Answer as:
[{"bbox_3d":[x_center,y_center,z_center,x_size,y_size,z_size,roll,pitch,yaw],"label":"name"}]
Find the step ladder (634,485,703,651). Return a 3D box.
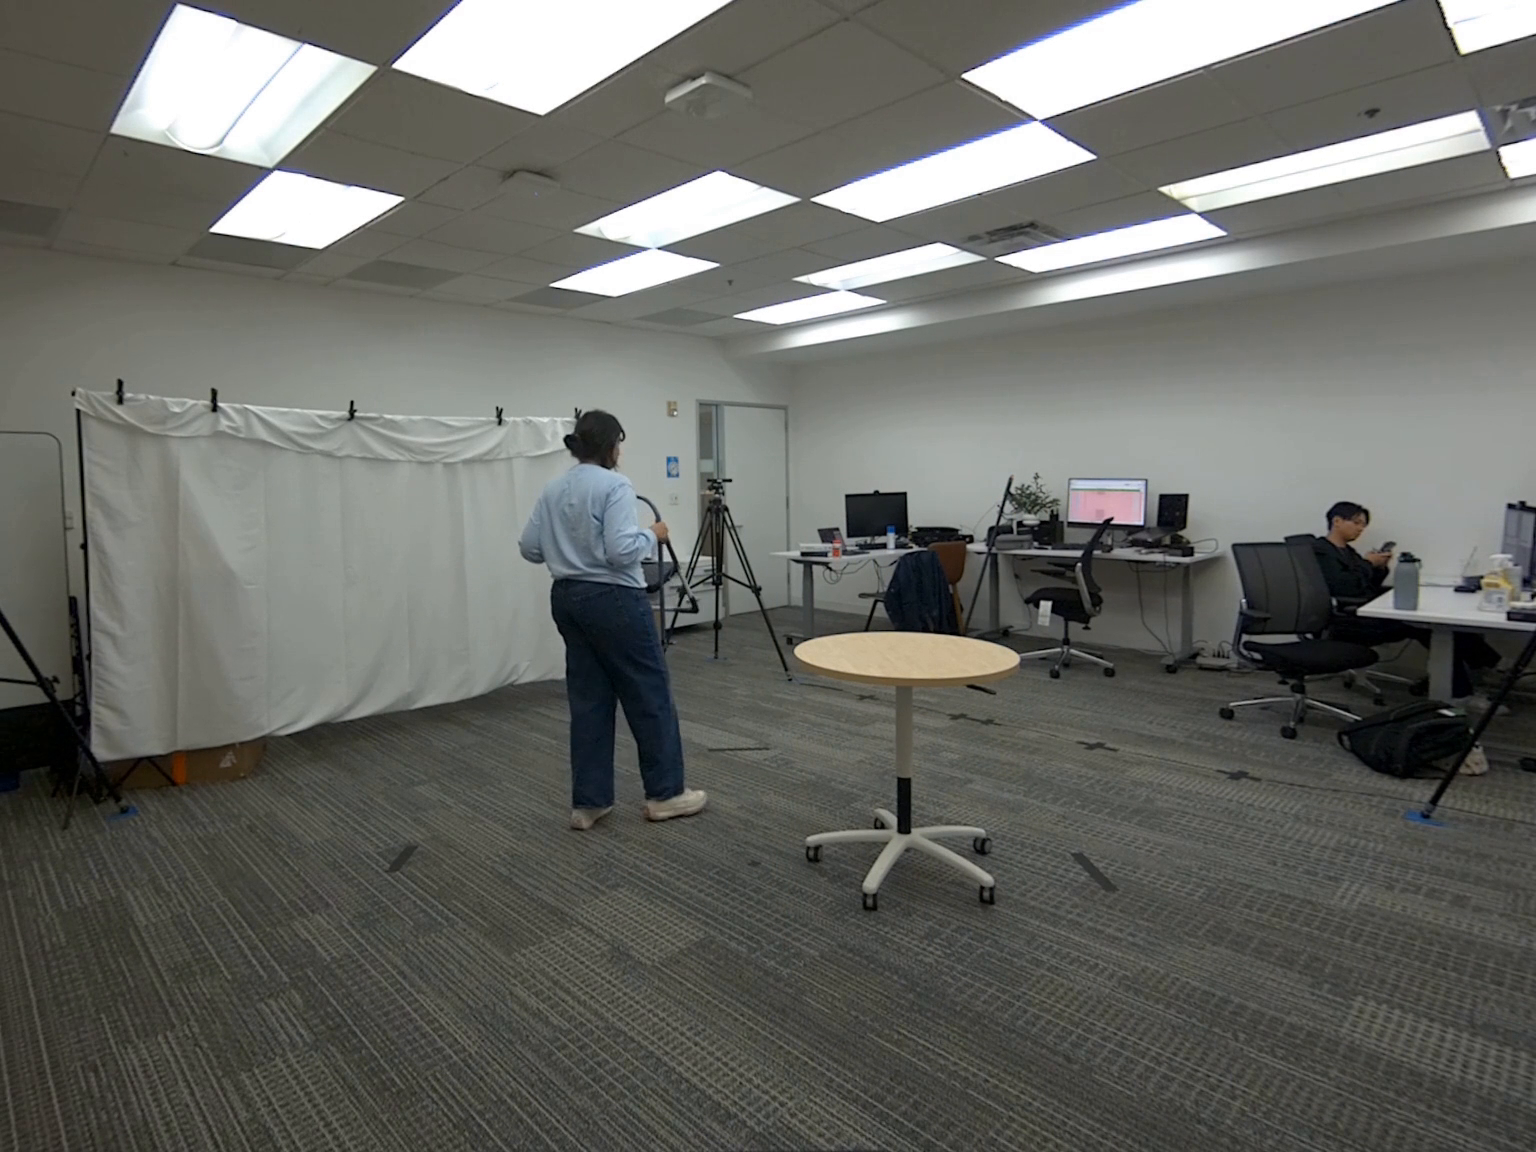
[{"bbox_3d":[-0.609,-0.043,3.709,0.441,0.594,0.348,0,23,26],"label":"step ladder"}]
